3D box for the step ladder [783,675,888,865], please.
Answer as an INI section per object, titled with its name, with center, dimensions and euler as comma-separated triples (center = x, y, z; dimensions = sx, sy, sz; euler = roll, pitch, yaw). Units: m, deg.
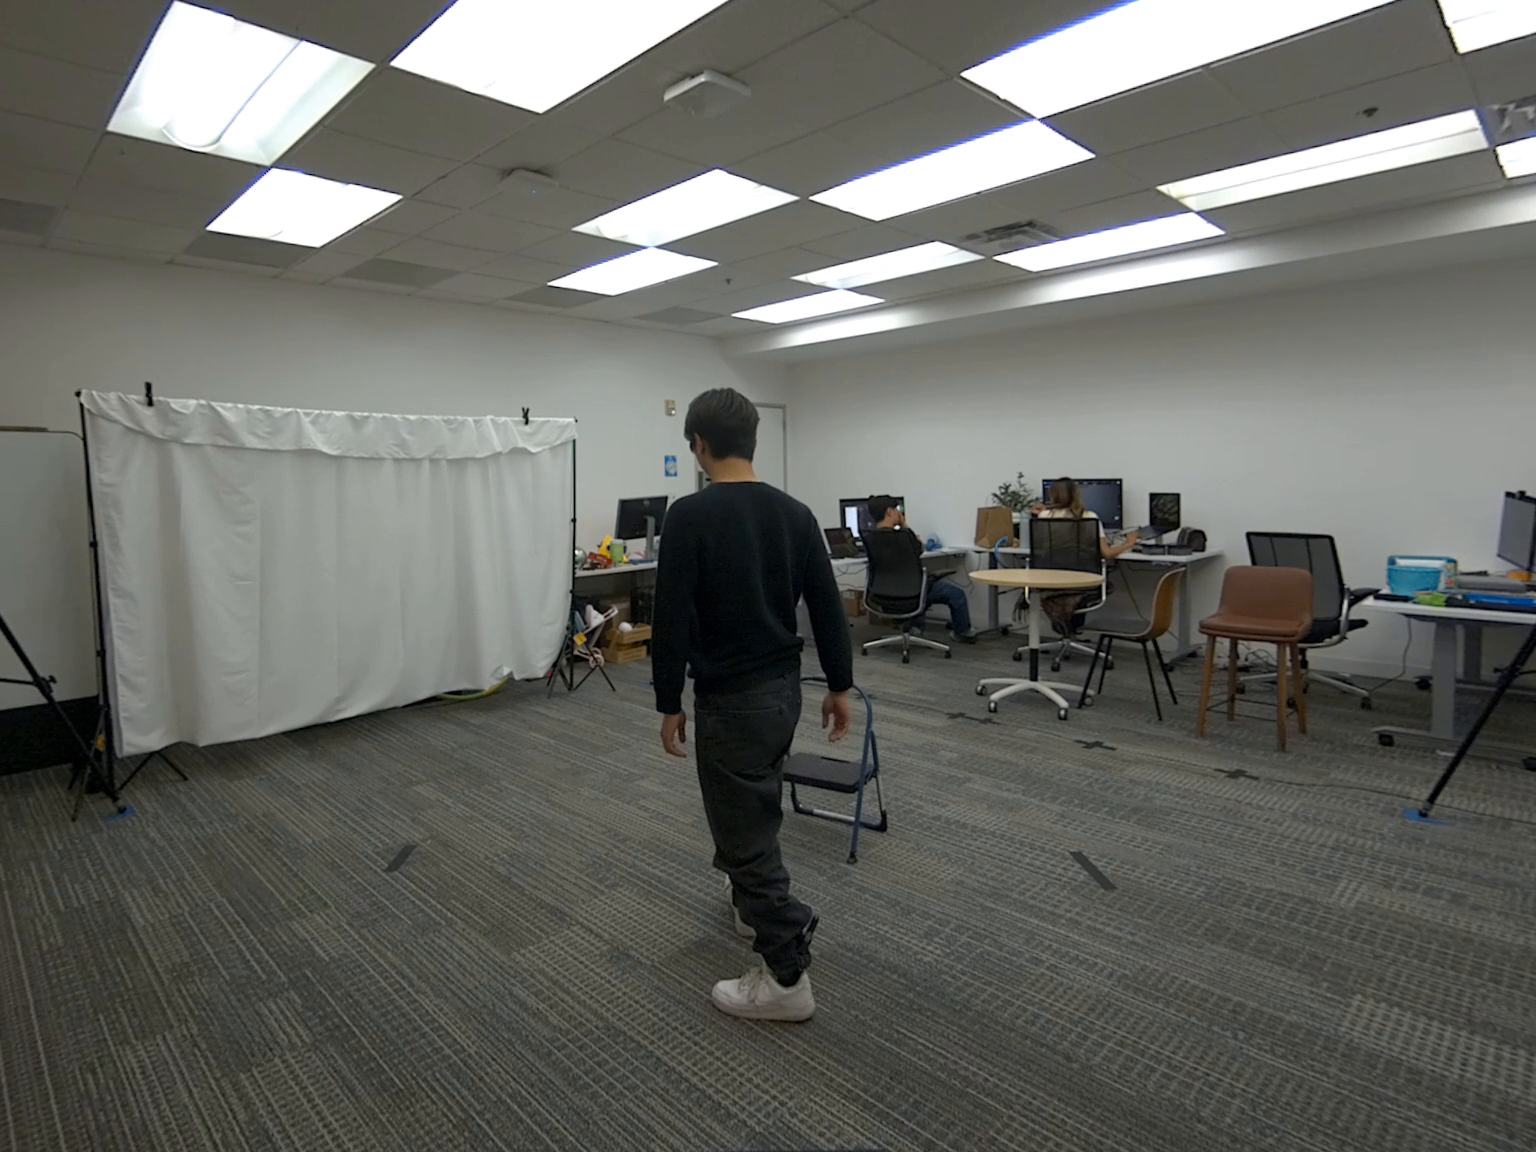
[step ladder]
center = 0.211, 0.711, 3.322
dimensions = 0.442, 0.604, 0.341
euler = 2, 5, 32
